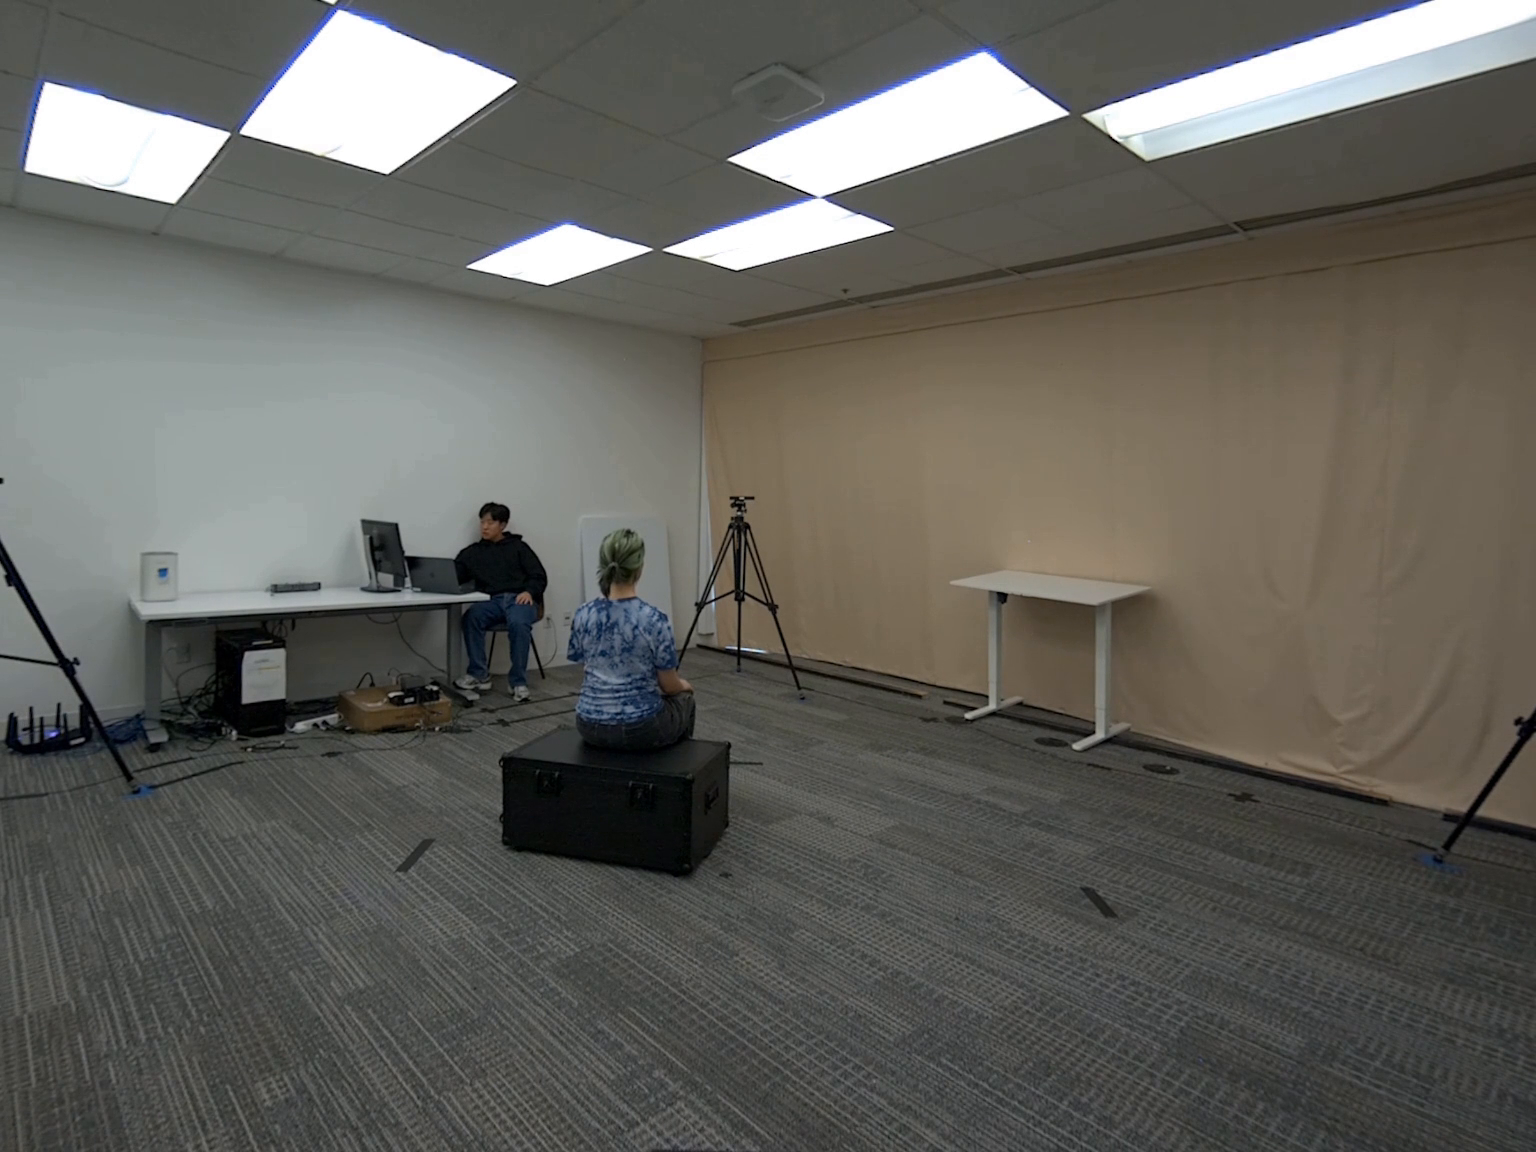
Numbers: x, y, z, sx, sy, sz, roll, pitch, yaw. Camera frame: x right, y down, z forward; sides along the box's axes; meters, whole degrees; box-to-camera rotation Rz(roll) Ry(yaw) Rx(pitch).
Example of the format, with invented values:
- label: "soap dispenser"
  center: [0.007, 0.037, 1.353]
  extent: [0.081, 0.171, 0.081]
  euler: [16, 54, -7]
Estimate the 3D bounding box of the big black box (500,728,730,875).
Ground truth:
- label: "big black box"
  center: [-0.633, 0.876, 3.389]
  extent: [0.872, 0.395, 0.516]
  euler: [3, 5, 15]
